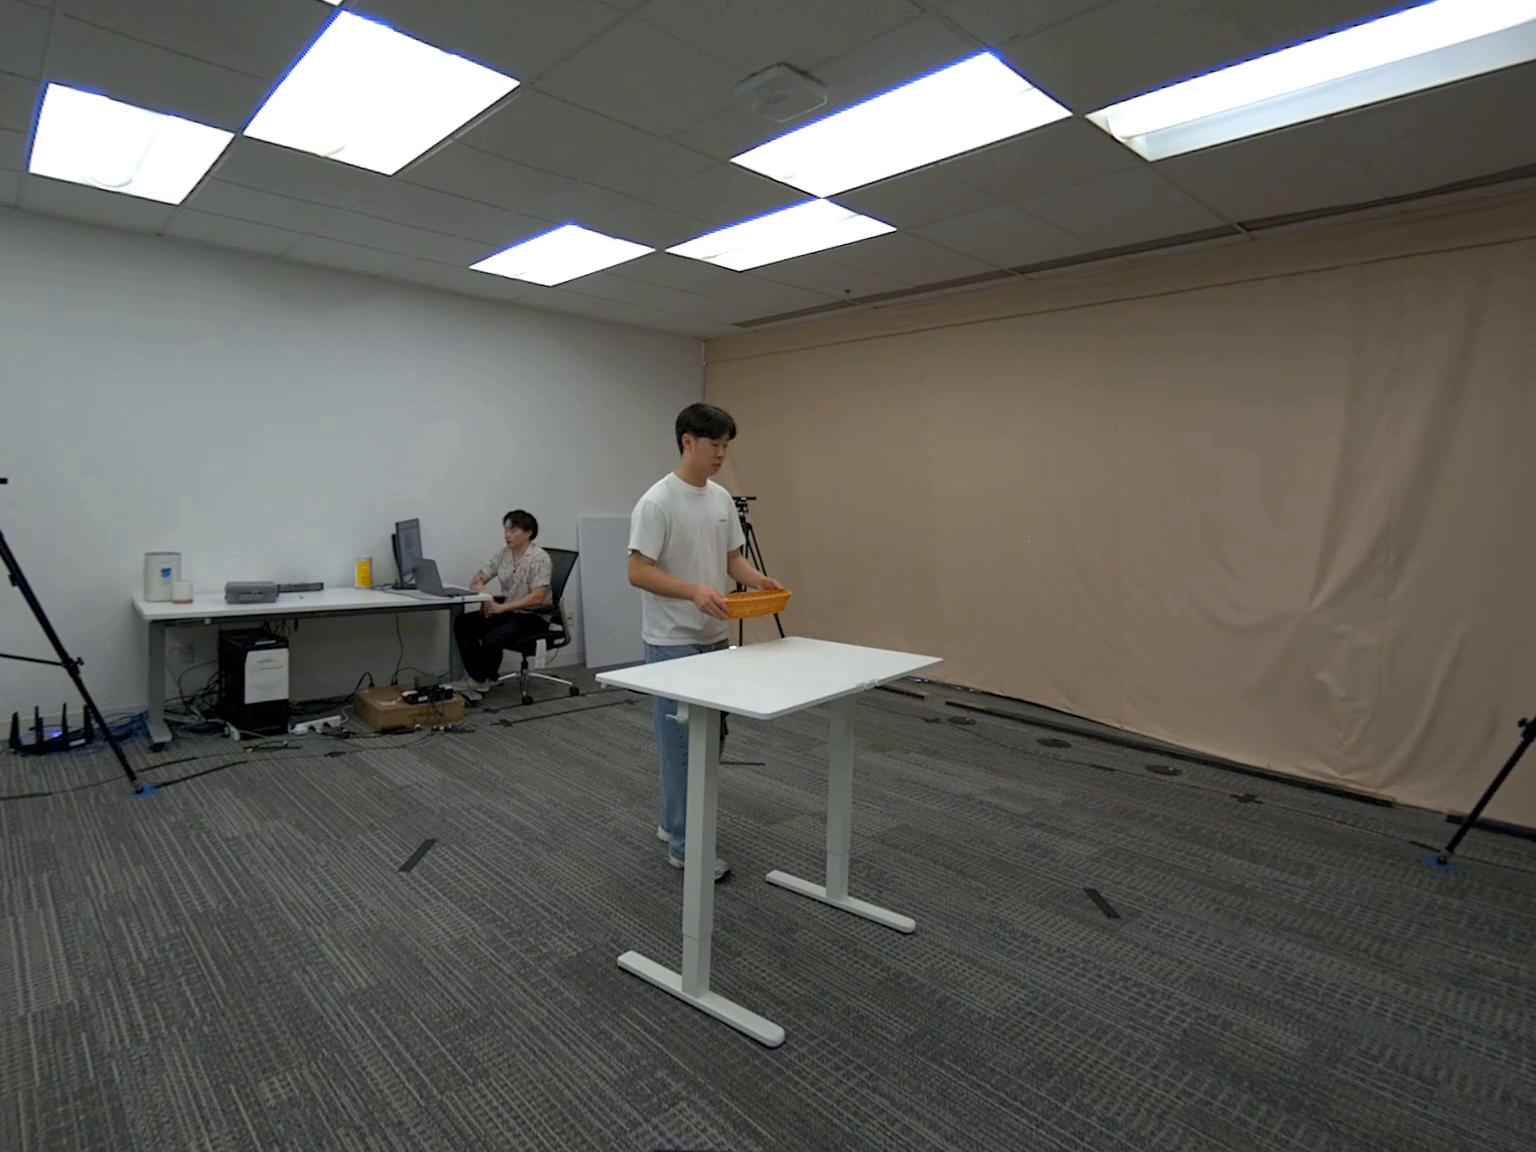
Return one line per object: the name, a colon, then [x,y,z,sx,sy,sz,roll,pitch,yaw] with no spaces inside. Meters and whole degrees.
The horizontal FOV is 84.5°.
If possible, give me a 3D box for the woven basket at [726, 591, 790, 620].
woven basket: [-0.104,0.114,3.031,0.342,0.073,0.259,-3,7,-40]
